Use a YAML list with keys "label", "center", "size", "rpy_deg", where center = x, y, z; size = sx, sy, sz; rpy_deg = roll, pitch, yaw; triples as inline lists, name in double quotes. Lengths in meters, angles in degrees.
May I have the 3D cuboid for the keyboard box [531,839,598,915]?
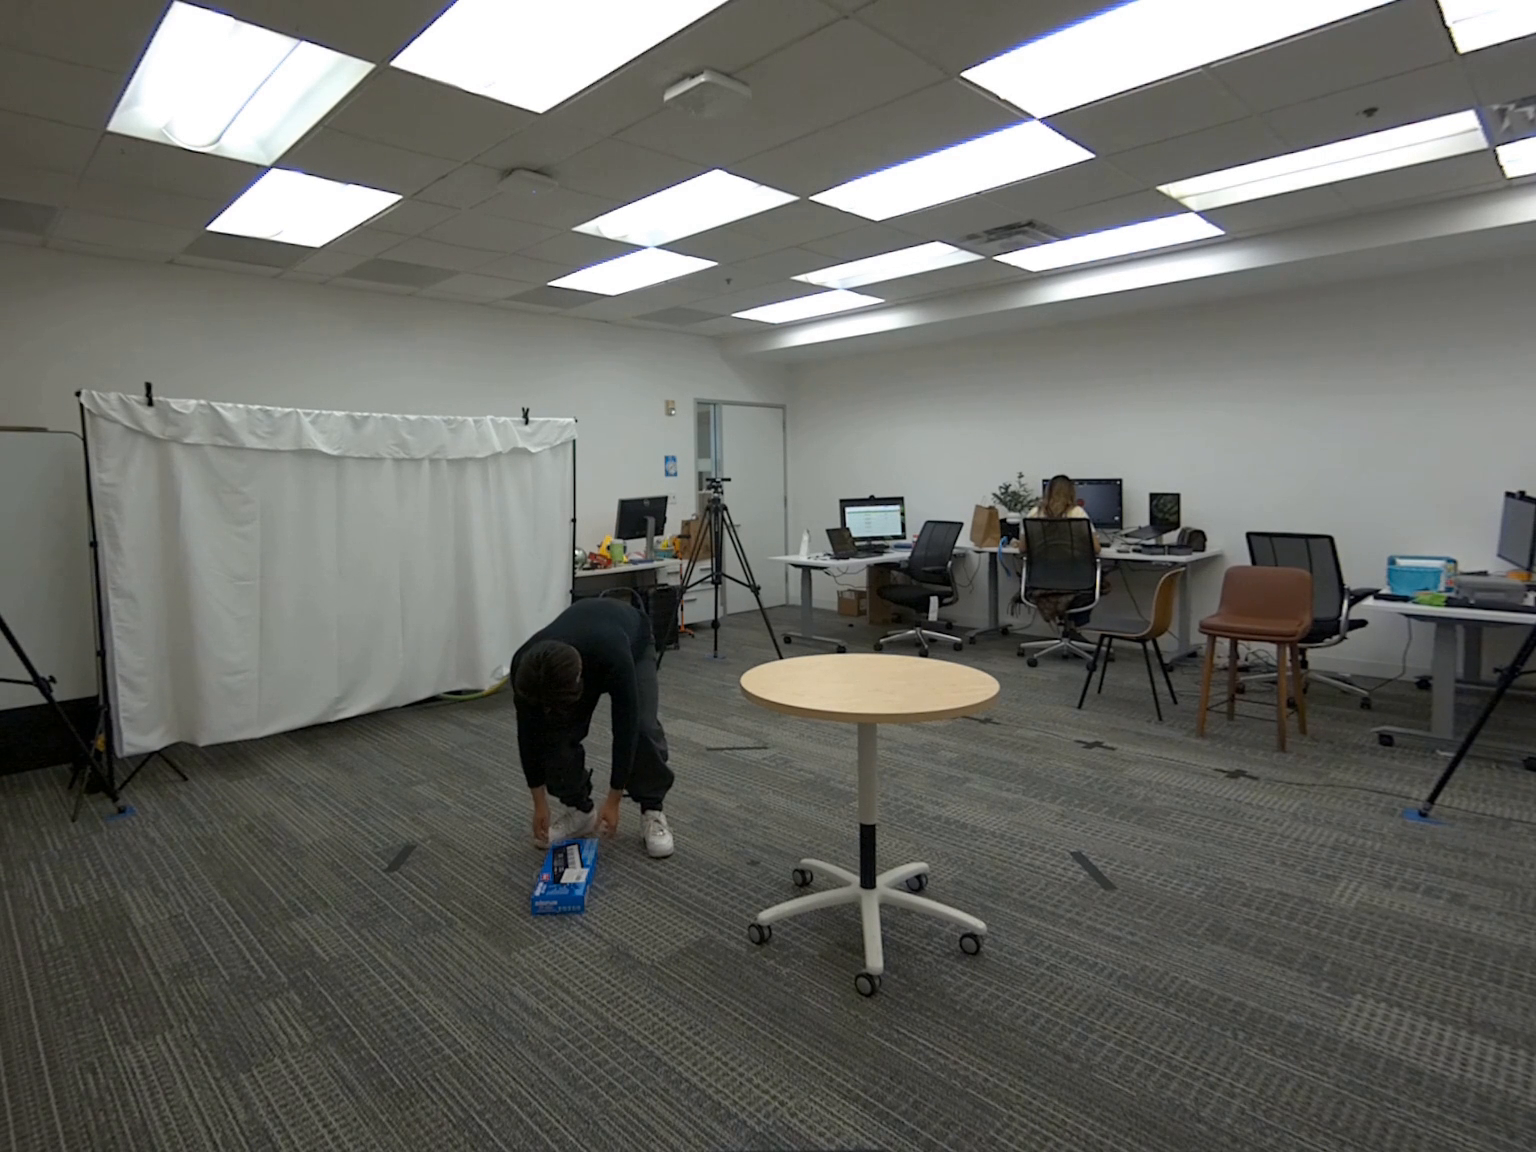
- label: "keyboard box"
  center: [-0.695, 1.040, 2.979]
  size: [0.175, 0.059, 0.440]
  rpy_deg: [-2, 6, -5]
